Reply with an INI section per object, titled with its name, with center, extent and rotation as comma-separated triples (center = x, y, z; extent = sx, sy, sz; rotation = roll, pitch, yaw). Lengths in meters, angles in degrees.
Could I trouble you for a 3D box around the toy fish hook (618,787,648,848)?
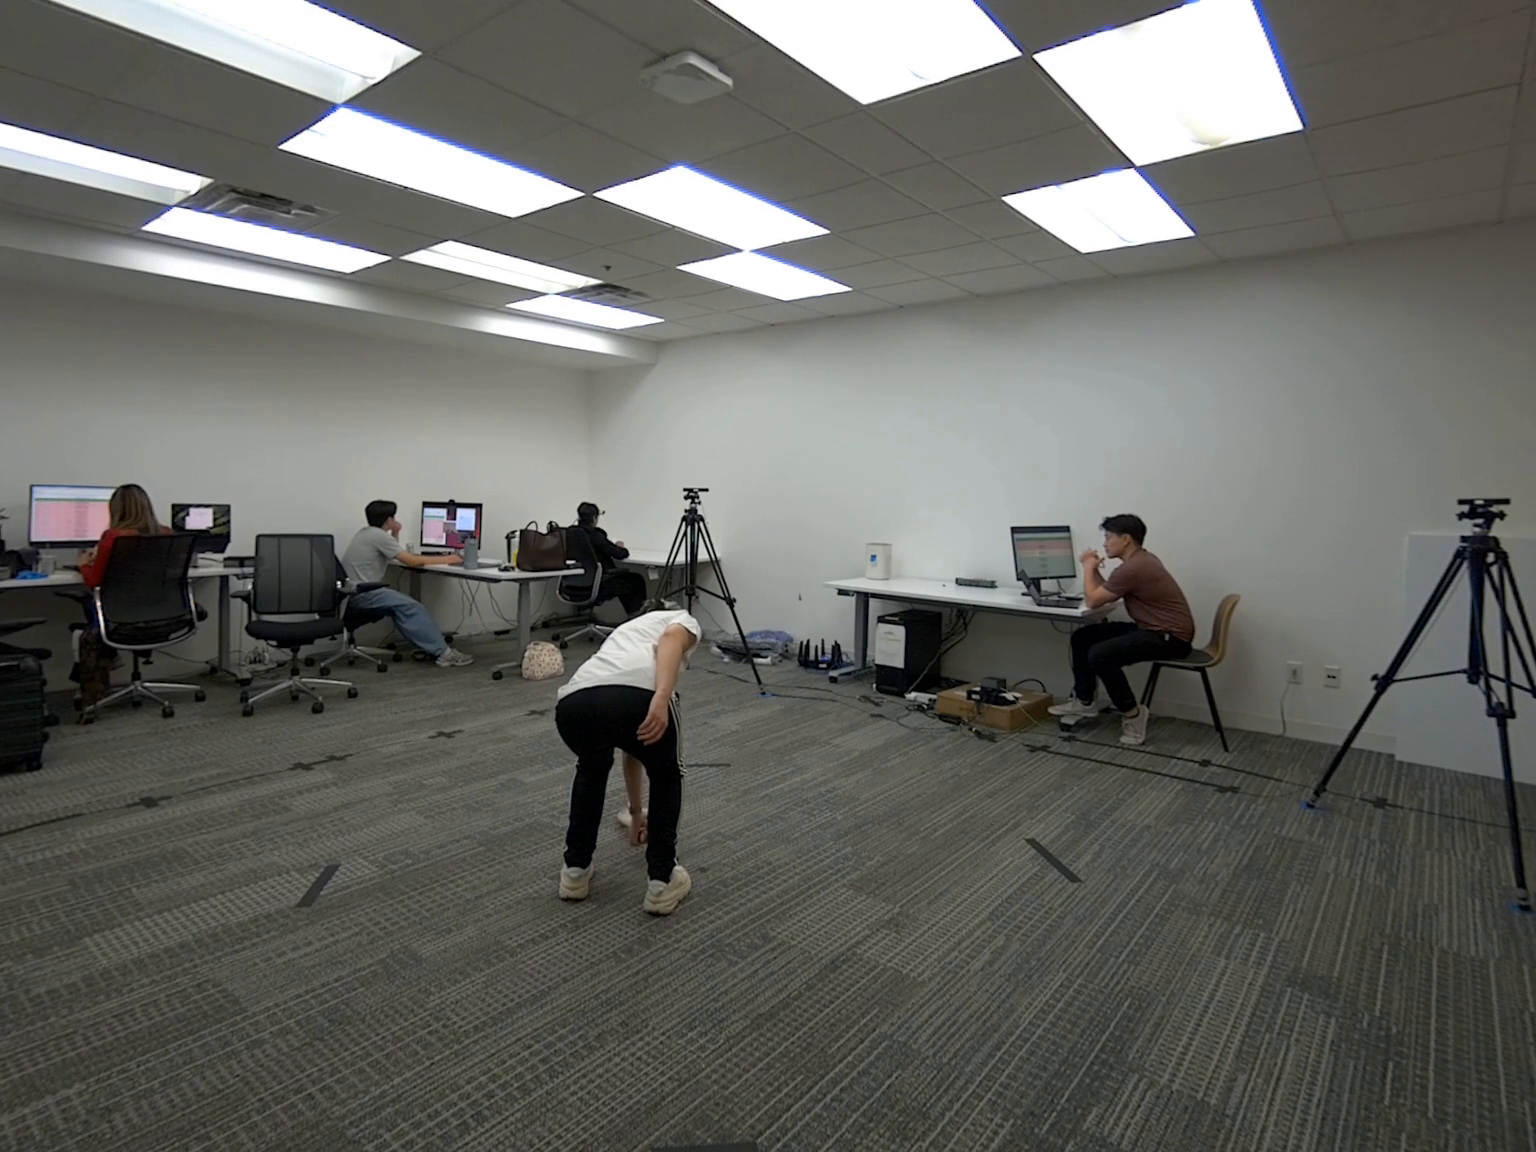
[toy fish hook]
center = -0.490, 0.978, 3.384
extent = 0.221, 0.048, 0.512
rotation = -2, -1, -15
